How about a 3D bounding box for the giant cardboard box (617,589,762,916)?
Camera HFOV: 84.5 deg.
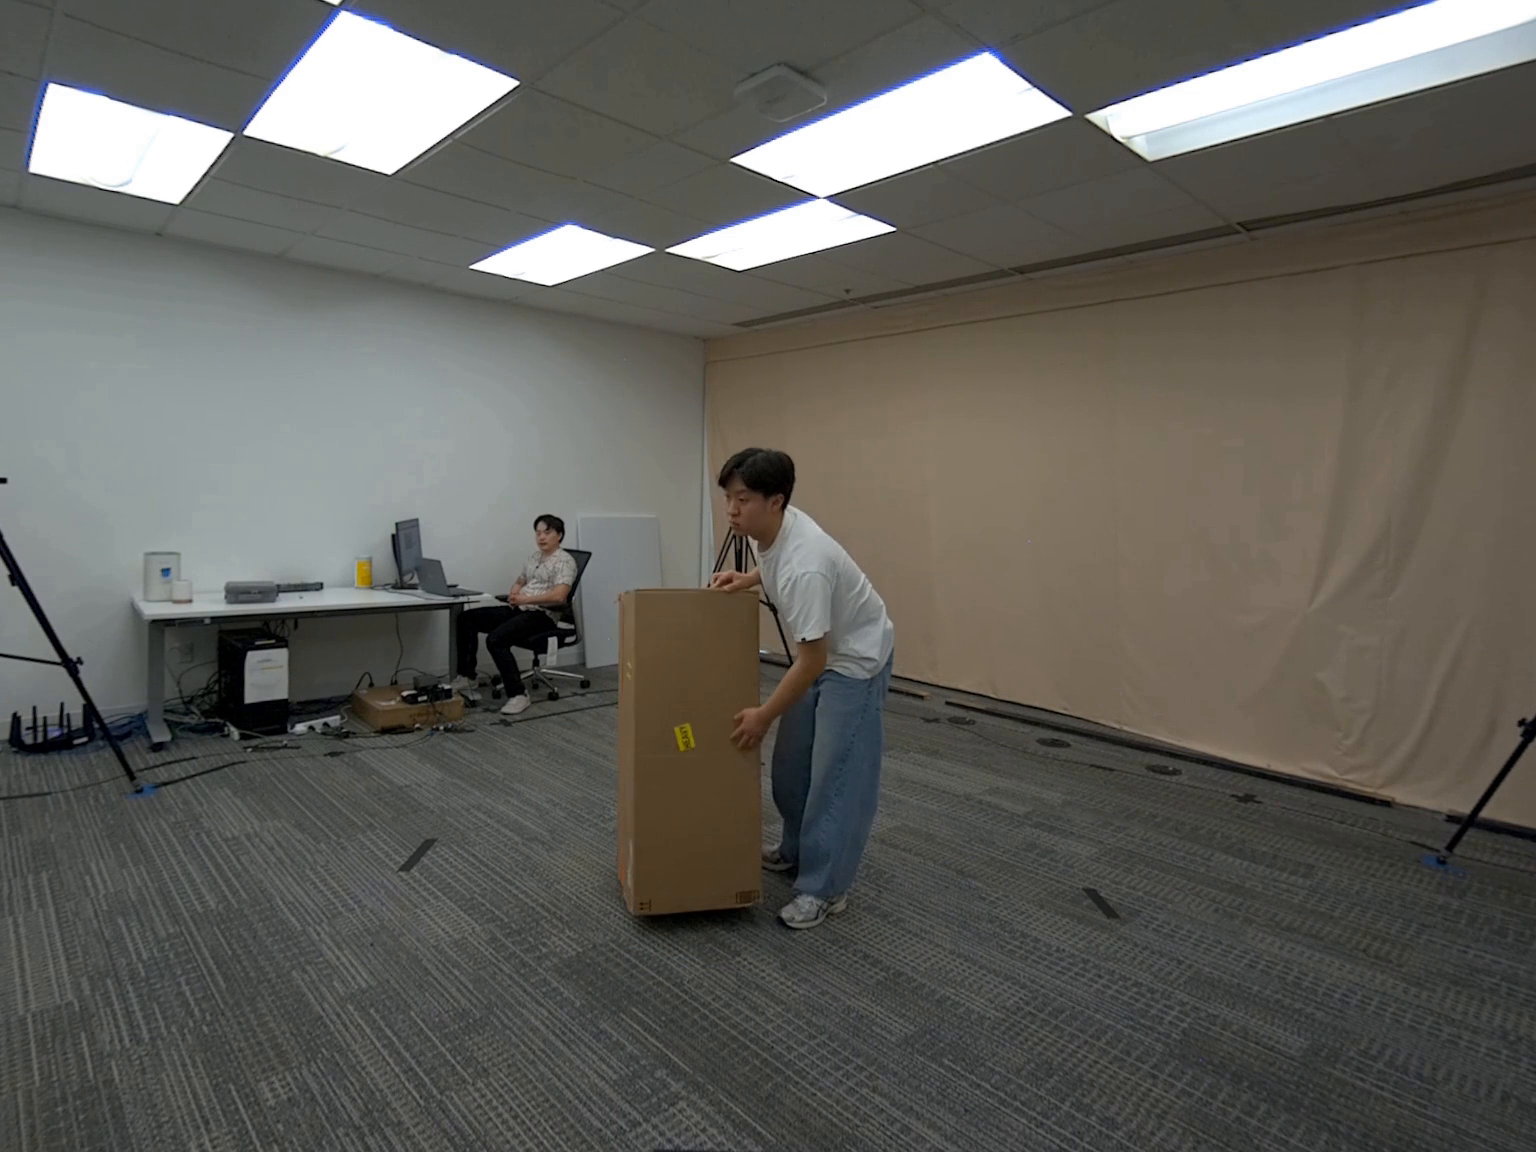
[{"bbox_3d":[-0.305,0.570,2.997,0.421,1.030,0.582,1,-5,-15],"label":"giant cardboard box"}]
